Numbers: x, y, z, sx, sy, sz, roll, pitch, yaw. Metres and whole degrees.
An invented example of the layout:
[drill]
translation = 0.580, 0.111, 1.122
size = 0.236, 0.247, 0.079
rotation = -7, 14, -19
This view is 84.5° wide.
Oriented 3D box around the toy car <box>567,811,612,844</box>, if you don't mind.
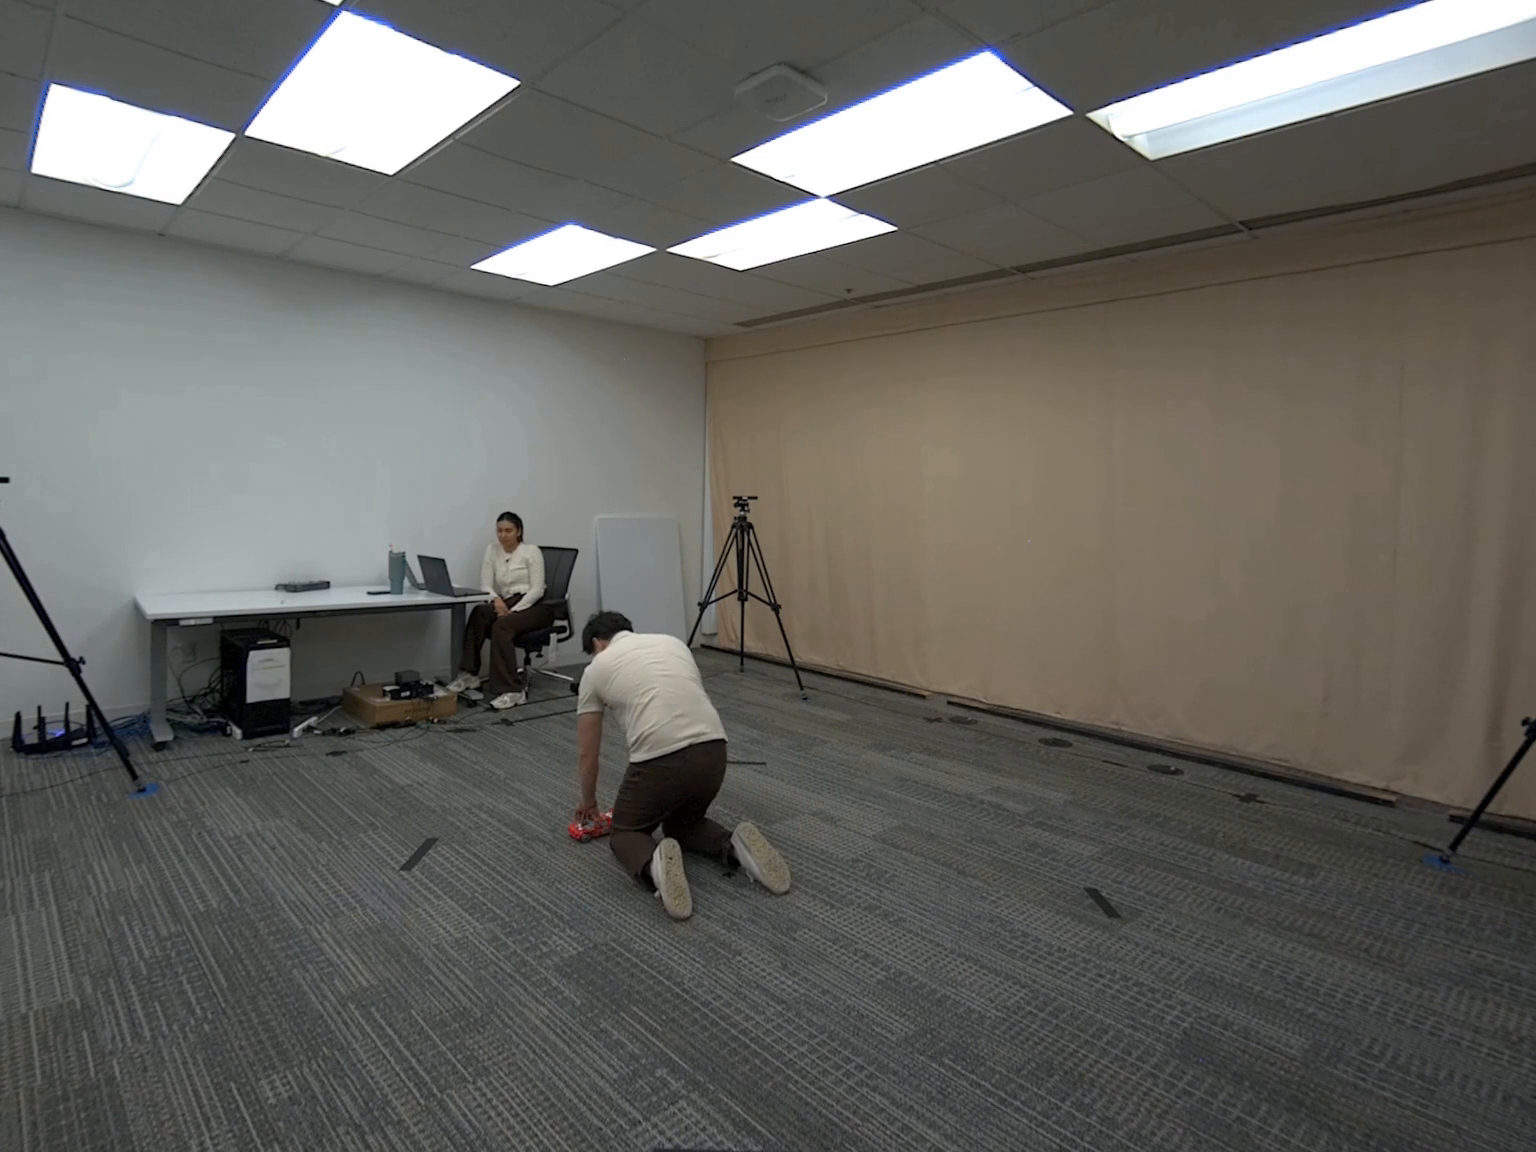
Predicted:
[toy car]
translation = -0.695, 1.023, 3.456
size = 0.250, 0.082, 0.133
rotation = -16, 14, -36
